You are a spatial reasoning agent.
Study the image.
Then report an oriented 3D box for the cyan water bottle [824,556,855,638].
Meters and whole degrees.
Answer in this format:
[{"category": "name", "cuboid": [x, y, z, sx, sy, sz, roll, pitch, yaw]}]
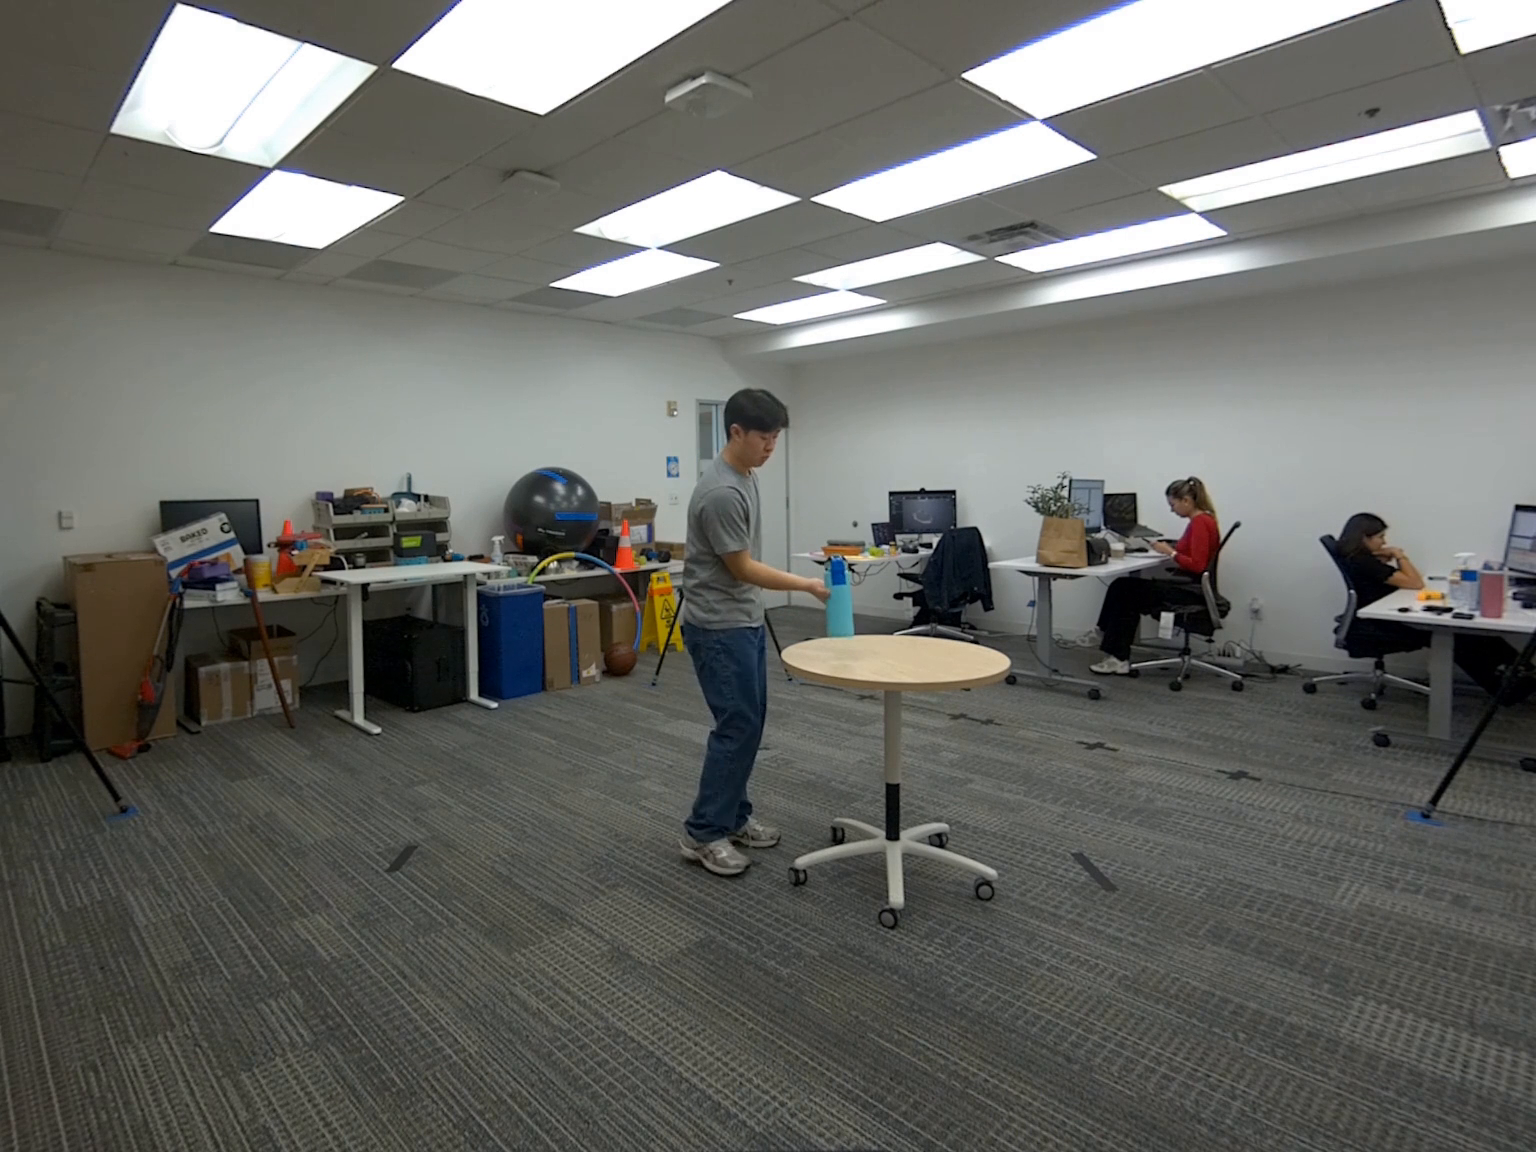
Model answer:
[{"category": "cyan water bottle", "cuboid": [0.233, 0.068, 2.893, 0.092, 0.285, 0.092, -4, -6, -2]}]
